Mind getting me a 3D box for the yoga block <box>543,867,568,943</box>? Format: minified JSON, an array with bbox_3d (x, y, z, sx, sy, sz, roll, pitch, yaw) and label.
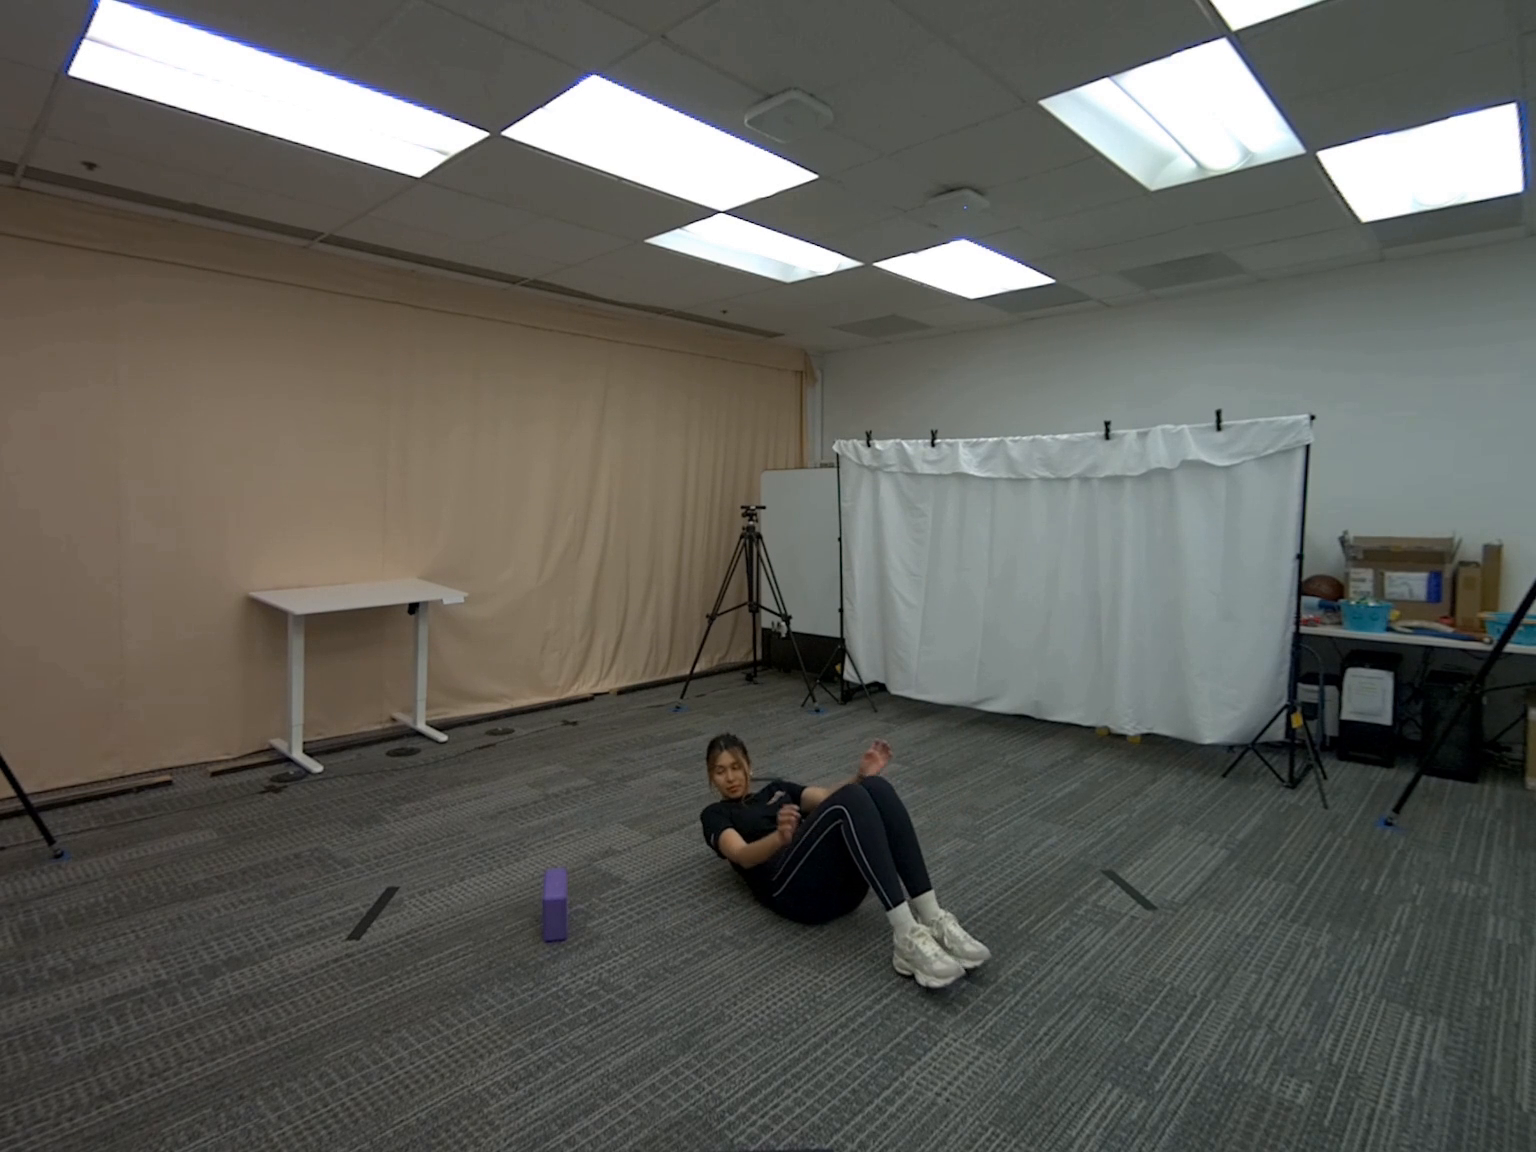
[{"bbox_3d":[-0.711,1.093,2.804,0.075,0.148,0.233,-3,5,-13],"label":"yoga block"}]
